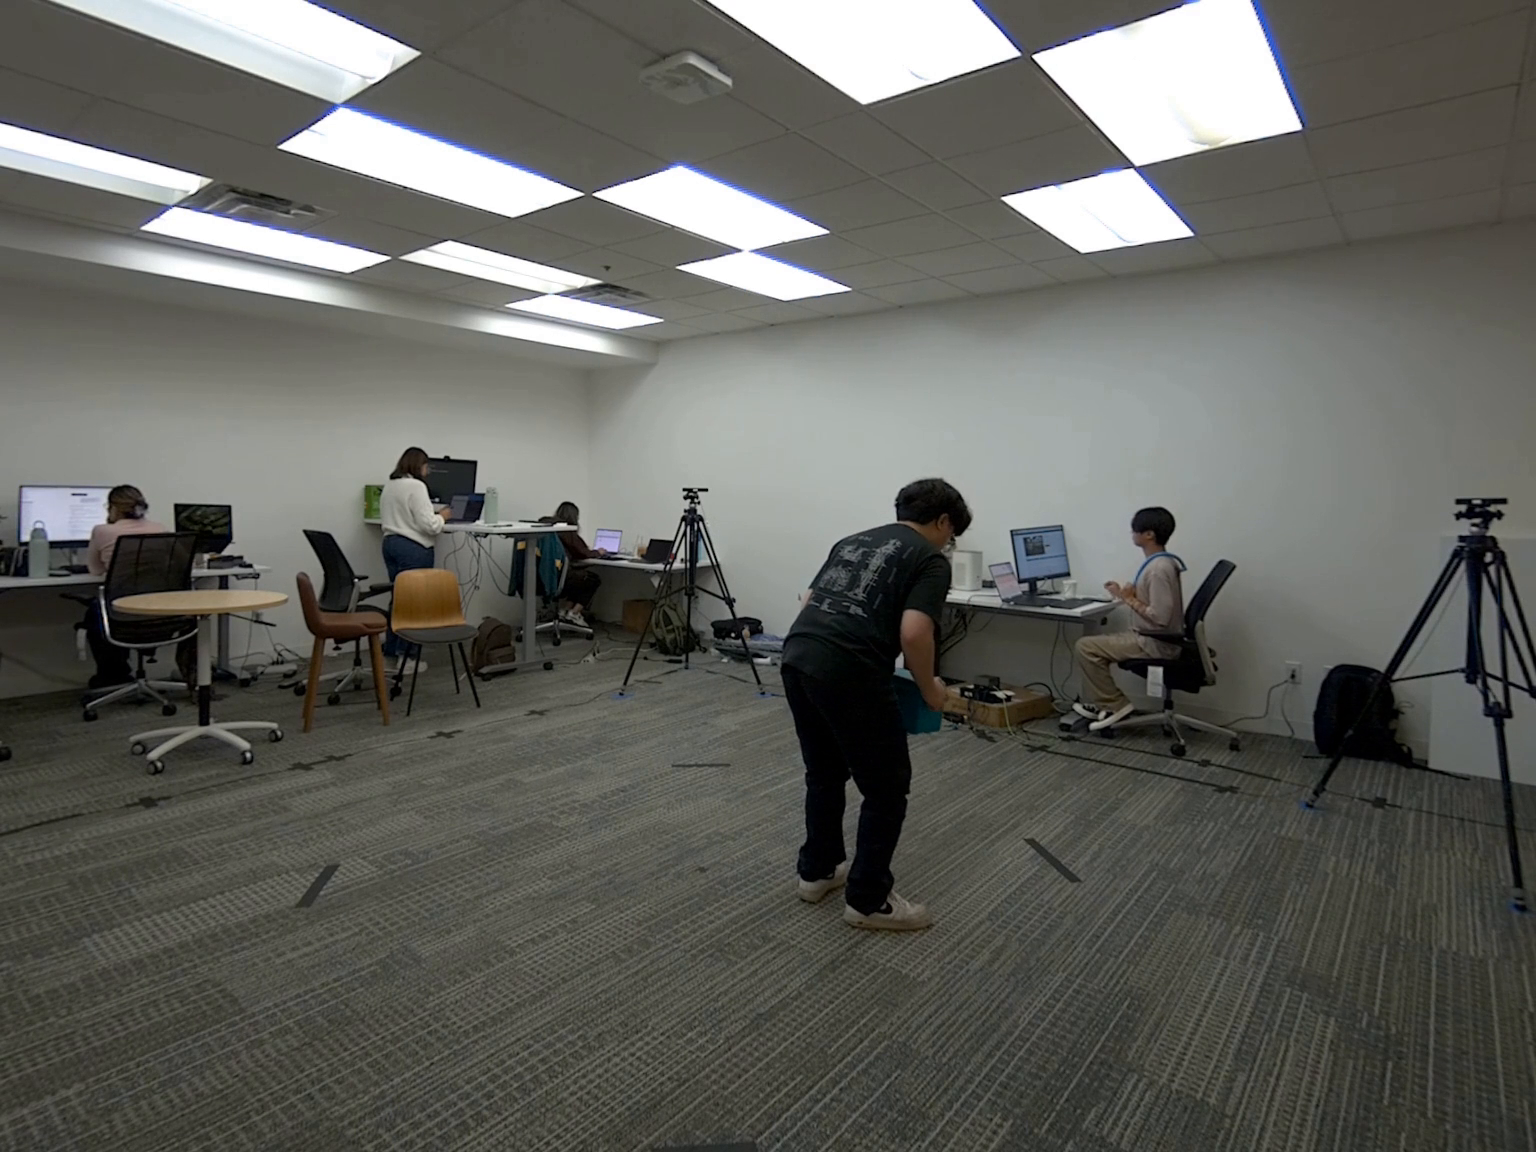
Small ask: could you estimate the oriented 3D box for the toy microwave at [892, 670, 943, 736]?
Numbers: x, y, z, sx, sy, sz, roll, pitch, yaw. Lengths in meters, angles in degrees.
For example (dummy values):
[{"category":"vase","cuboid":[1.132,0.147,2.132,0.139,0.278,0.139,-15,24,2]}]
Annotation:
[{"category":"toy microwave","cuboid":[0.471,0.424,2.954,0.147,0.183,0.296,3,6,-36]}]
